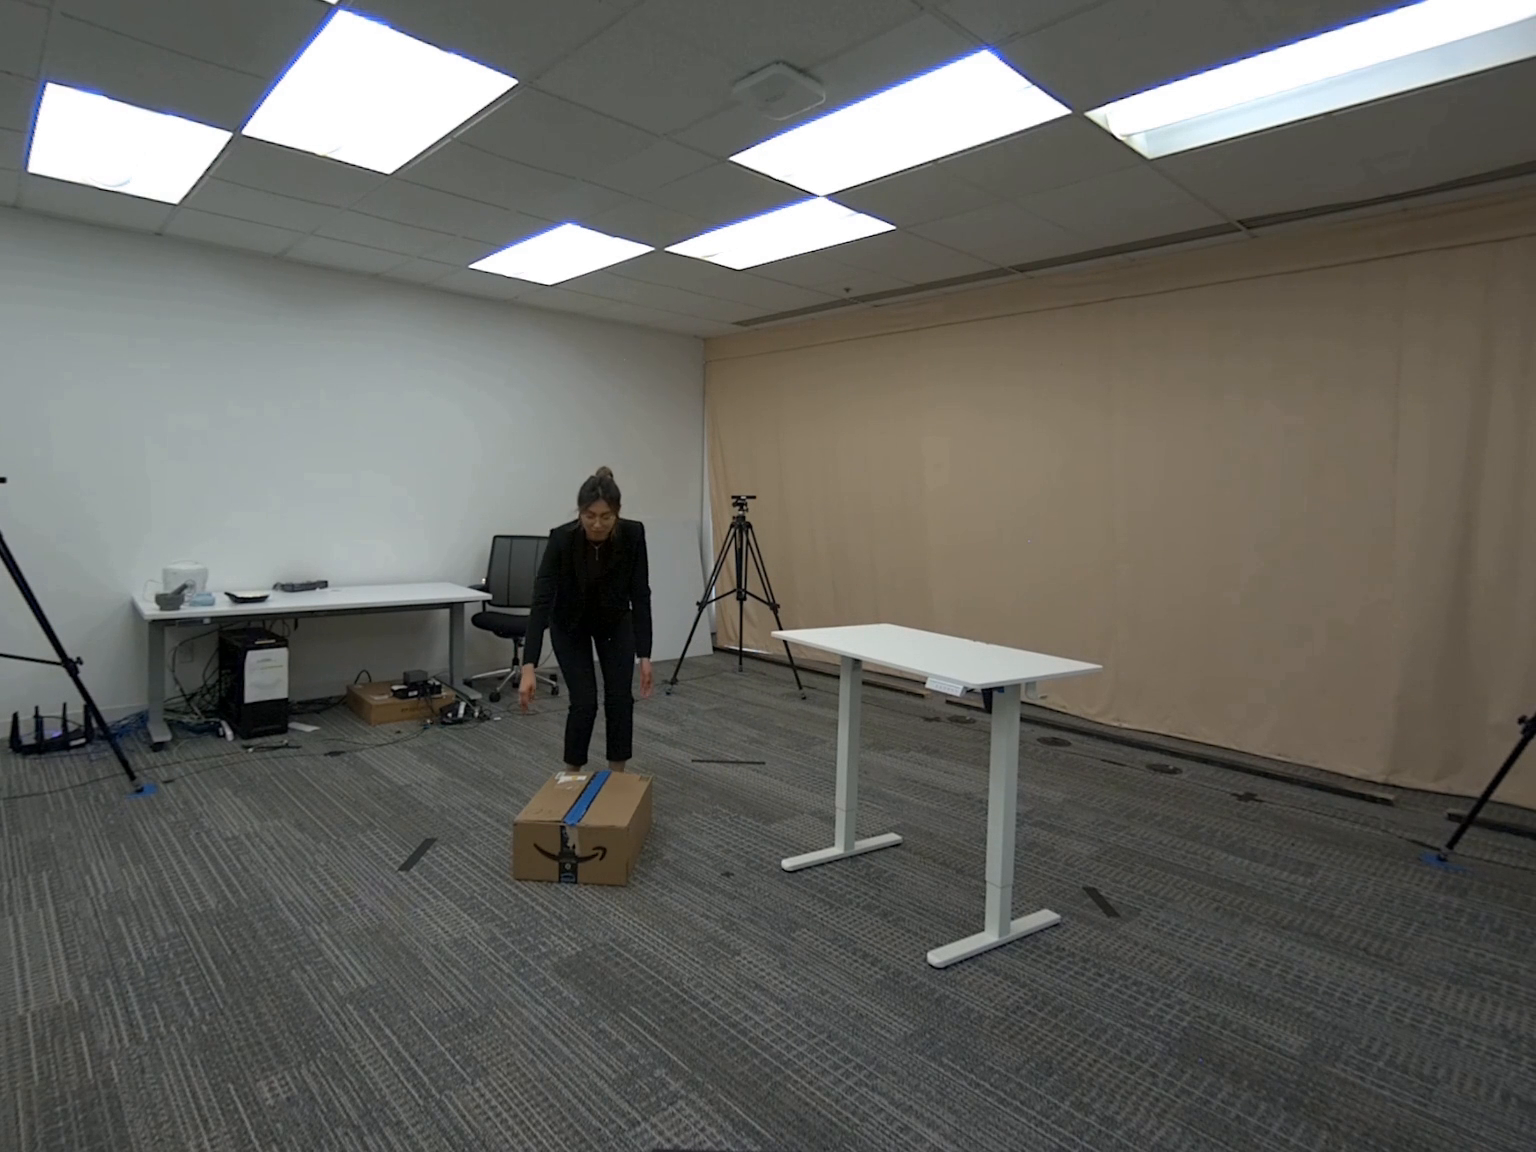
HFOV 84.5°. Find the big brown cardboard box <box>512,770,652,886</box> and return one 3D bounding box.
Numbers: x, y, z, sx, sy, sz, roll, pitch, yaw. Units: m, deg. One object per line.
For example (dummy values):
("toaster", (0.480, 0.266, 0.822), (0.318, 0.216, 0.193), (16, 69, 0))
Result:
("big brown cardboard box", (-0.710, 0.963, 3.276), (0.418, 0.232, 0.590), (1, 6, 1))
